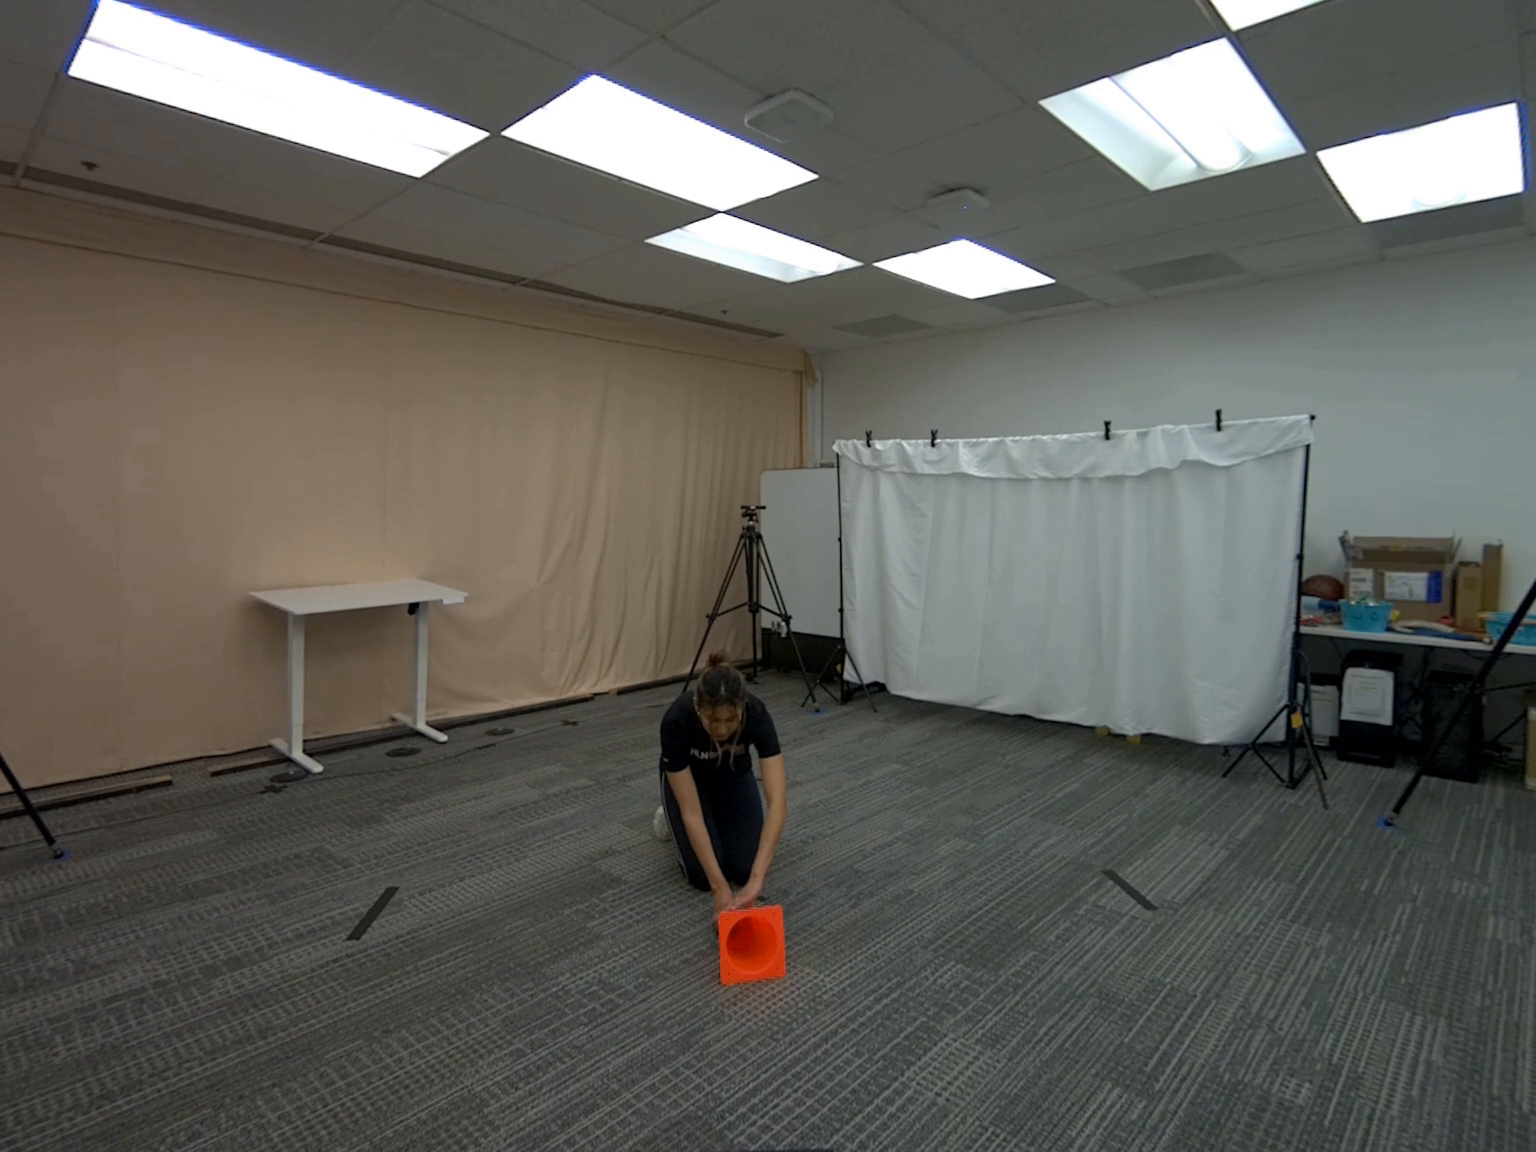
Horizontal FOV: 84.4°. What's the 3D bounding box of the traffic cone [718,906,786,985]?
[{"bbox_3d":[-0.097,1.121,2.666,0.202,0.205,0.387,-2,-9,-16],"label":"traffic cone"}]
